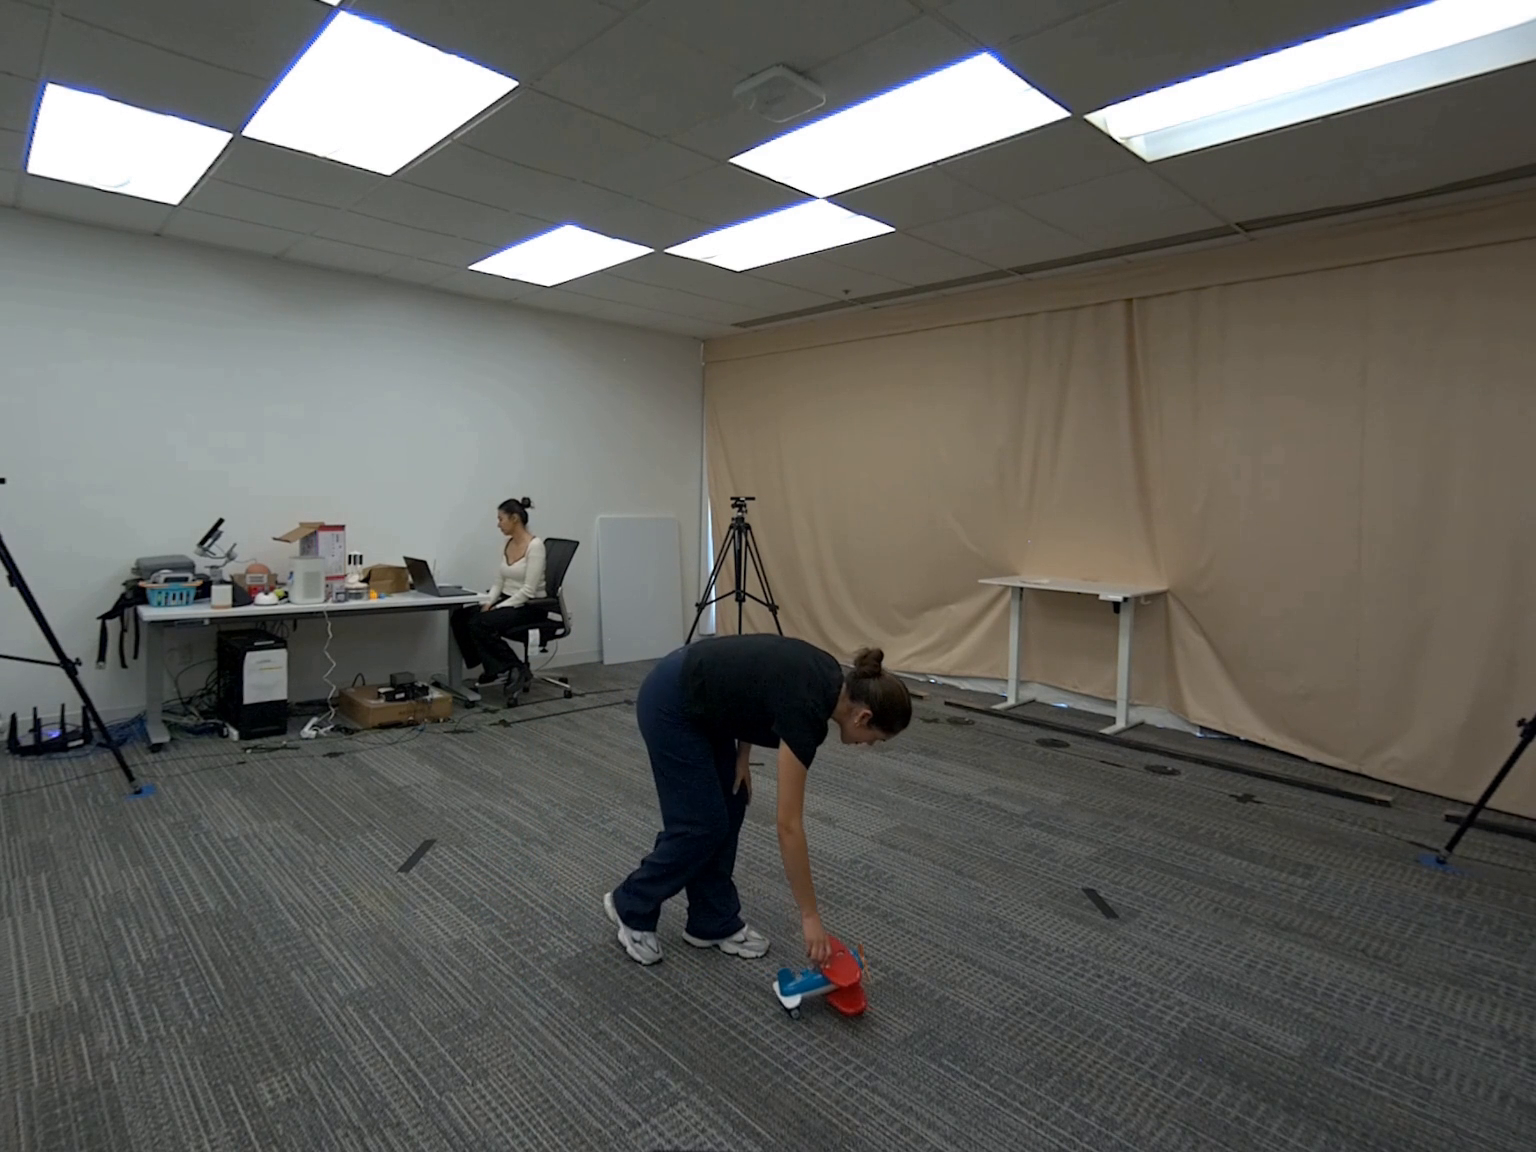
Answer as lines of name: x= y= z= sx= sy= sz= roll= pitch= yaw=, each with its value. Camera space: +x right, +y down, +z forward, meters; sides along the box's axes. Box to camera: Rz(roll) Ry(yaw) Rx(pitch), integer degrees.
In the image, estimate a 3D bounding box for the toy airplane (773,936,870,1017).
toy airplane: x=0.158 y=1.117 z=2.282 sx=0.257 sy=0.156 sz=0.253 roll=6 pitch=6 yaw=44
